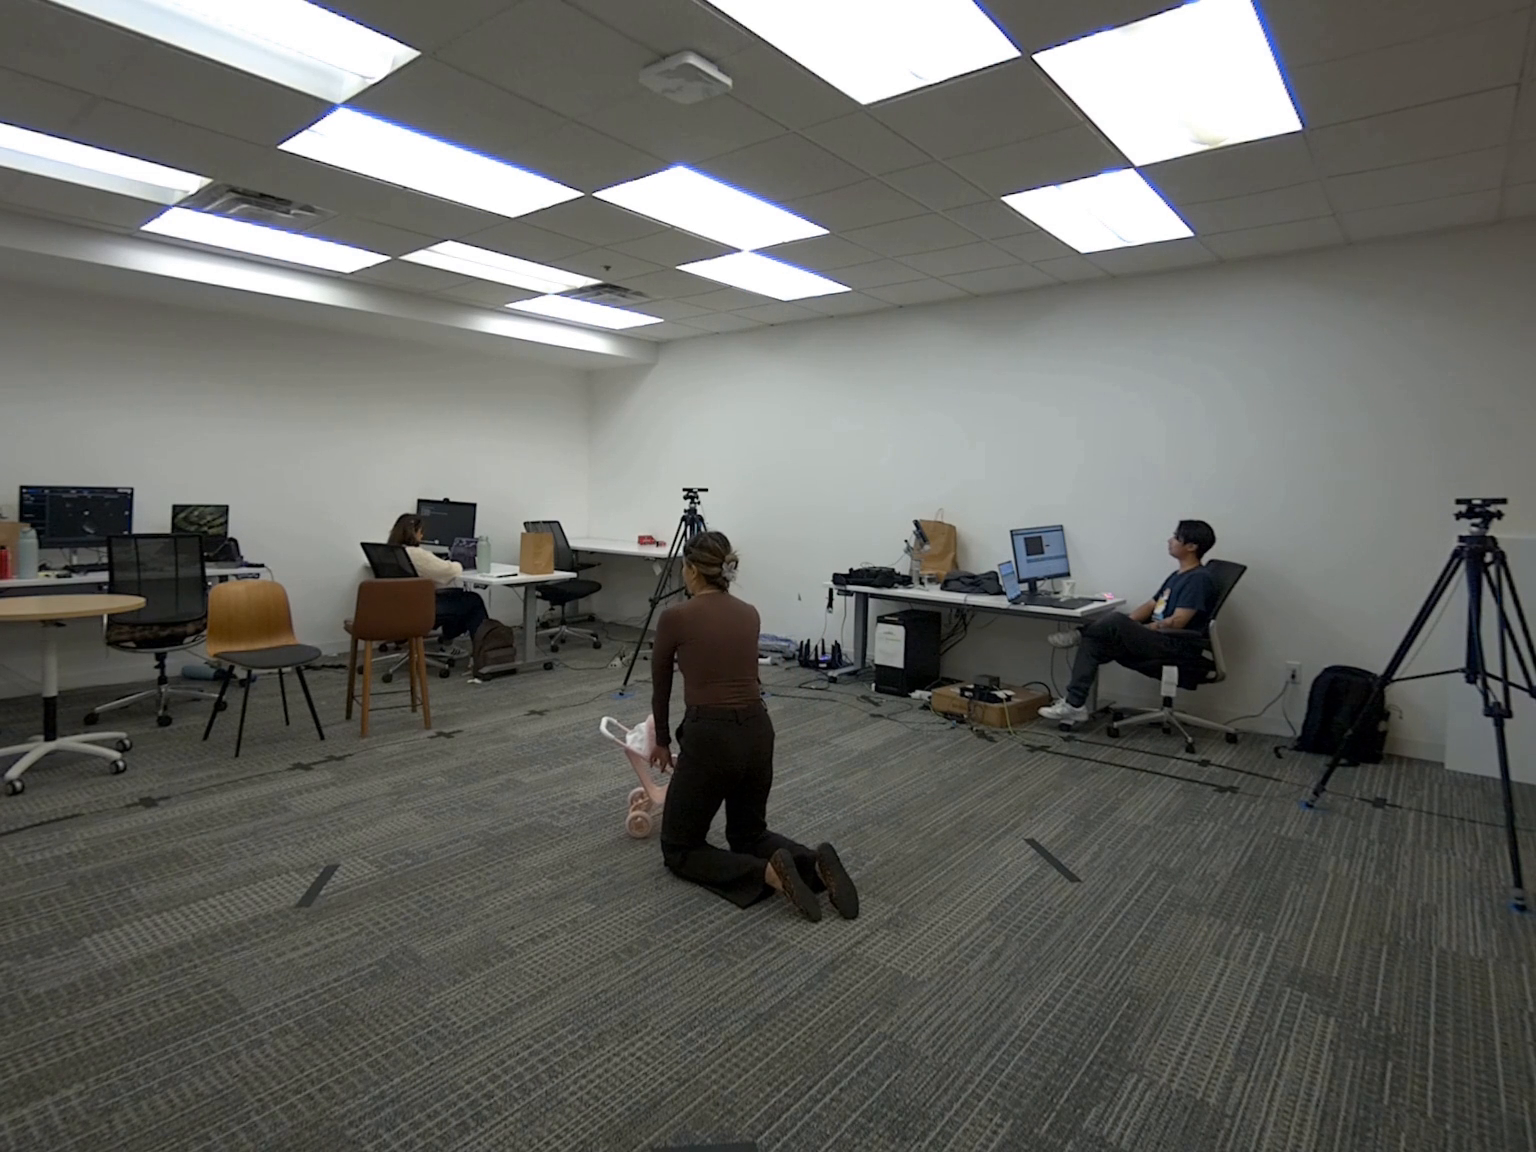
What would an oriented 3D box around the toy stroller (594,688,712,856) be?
[{"bbox_3d":[-0.467,0.799,3.486,0.341,0.532,0.283,-14,5,0],"label":"toy stroller"}]
